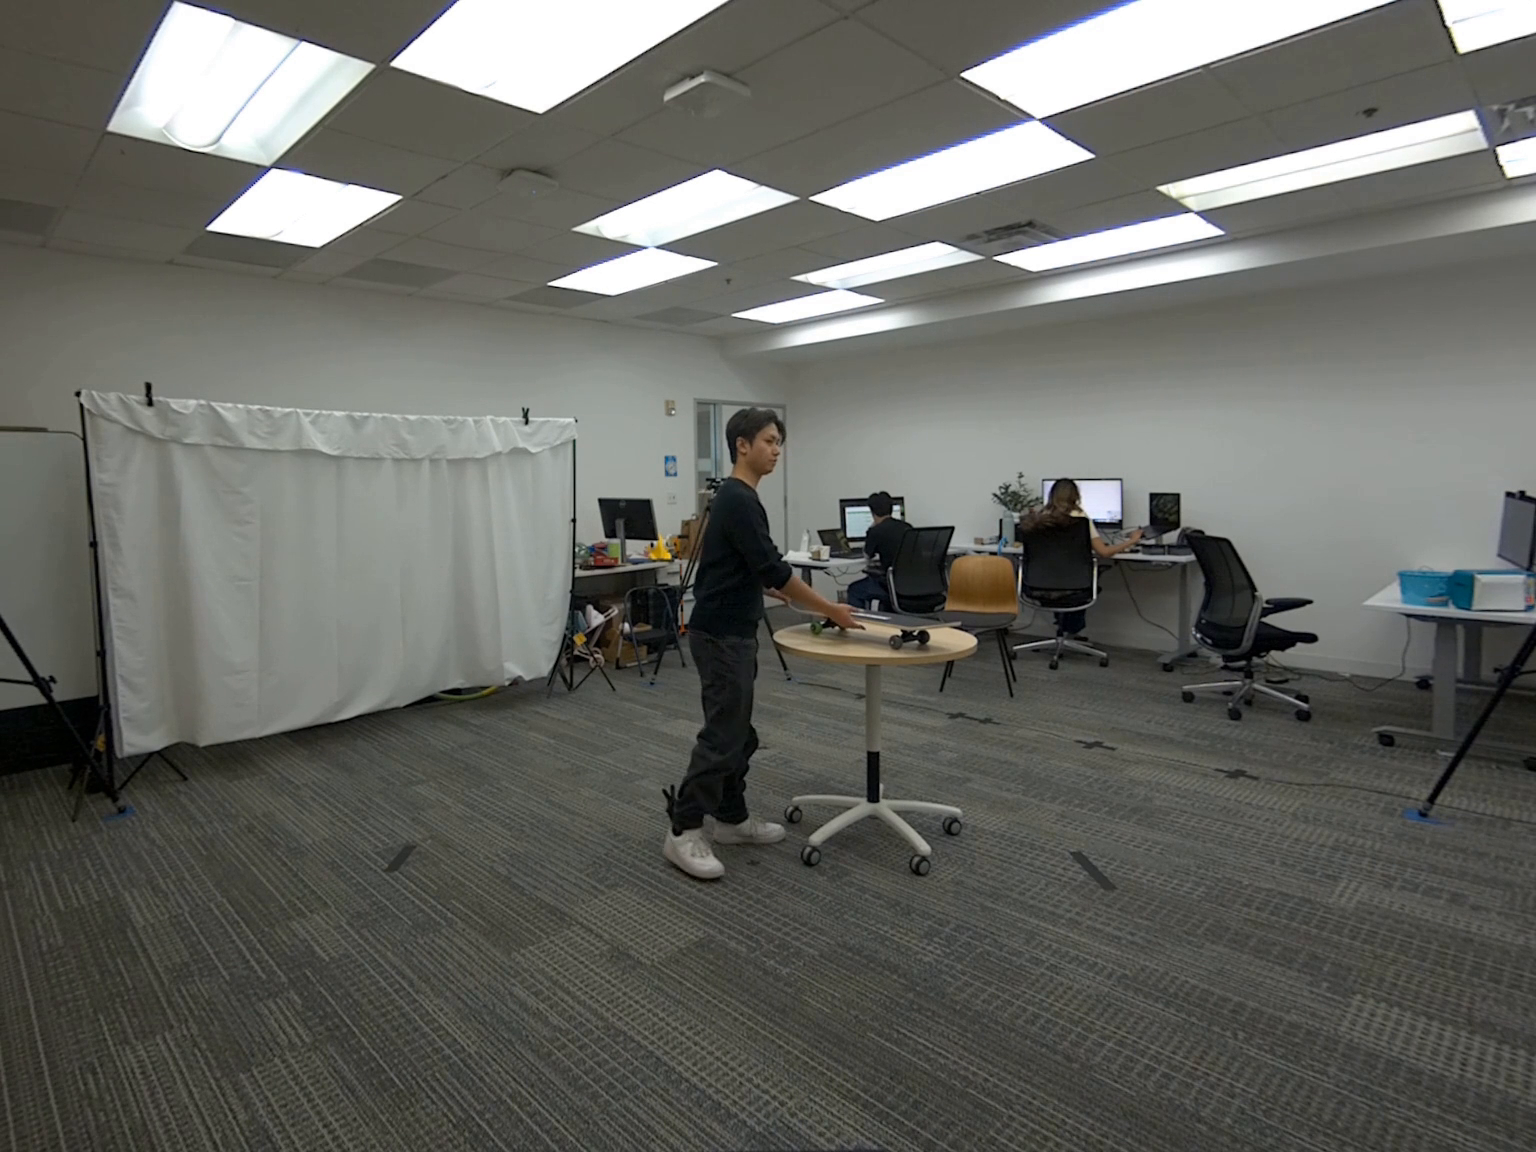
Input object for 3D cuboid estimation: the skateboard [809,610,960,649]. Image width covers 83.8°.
[{"bbox_3d":[0.379,0.190,3.226,0.188,0.110,0.810,-6,8,-41],"label":"skateboard"}]
